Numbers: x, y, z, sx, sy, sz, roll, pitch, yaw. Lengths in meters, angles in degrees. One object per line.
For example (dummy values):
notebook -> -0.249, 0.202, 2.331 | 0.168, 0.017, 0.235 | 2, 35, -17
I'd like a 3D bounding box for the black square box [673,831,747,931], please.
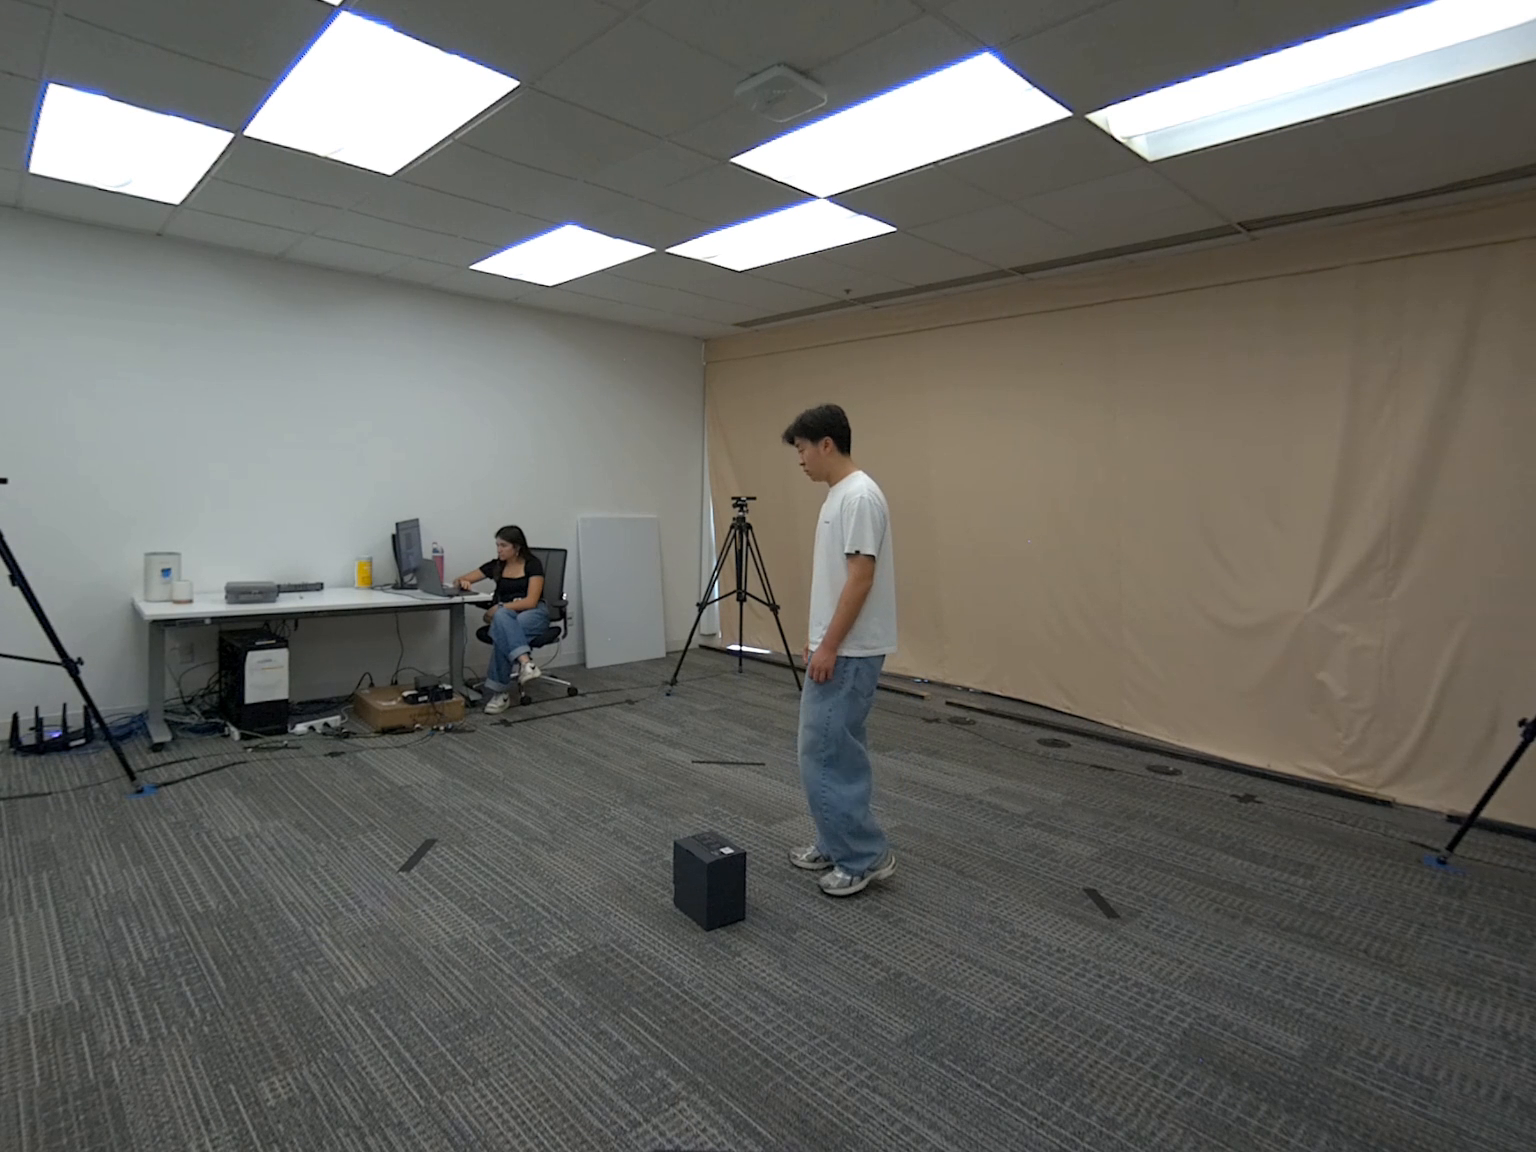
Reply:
black square box -> -0.202, 1.013, 2.815 | 0.152, 0.227, 0.222 | -2, 5, -36
